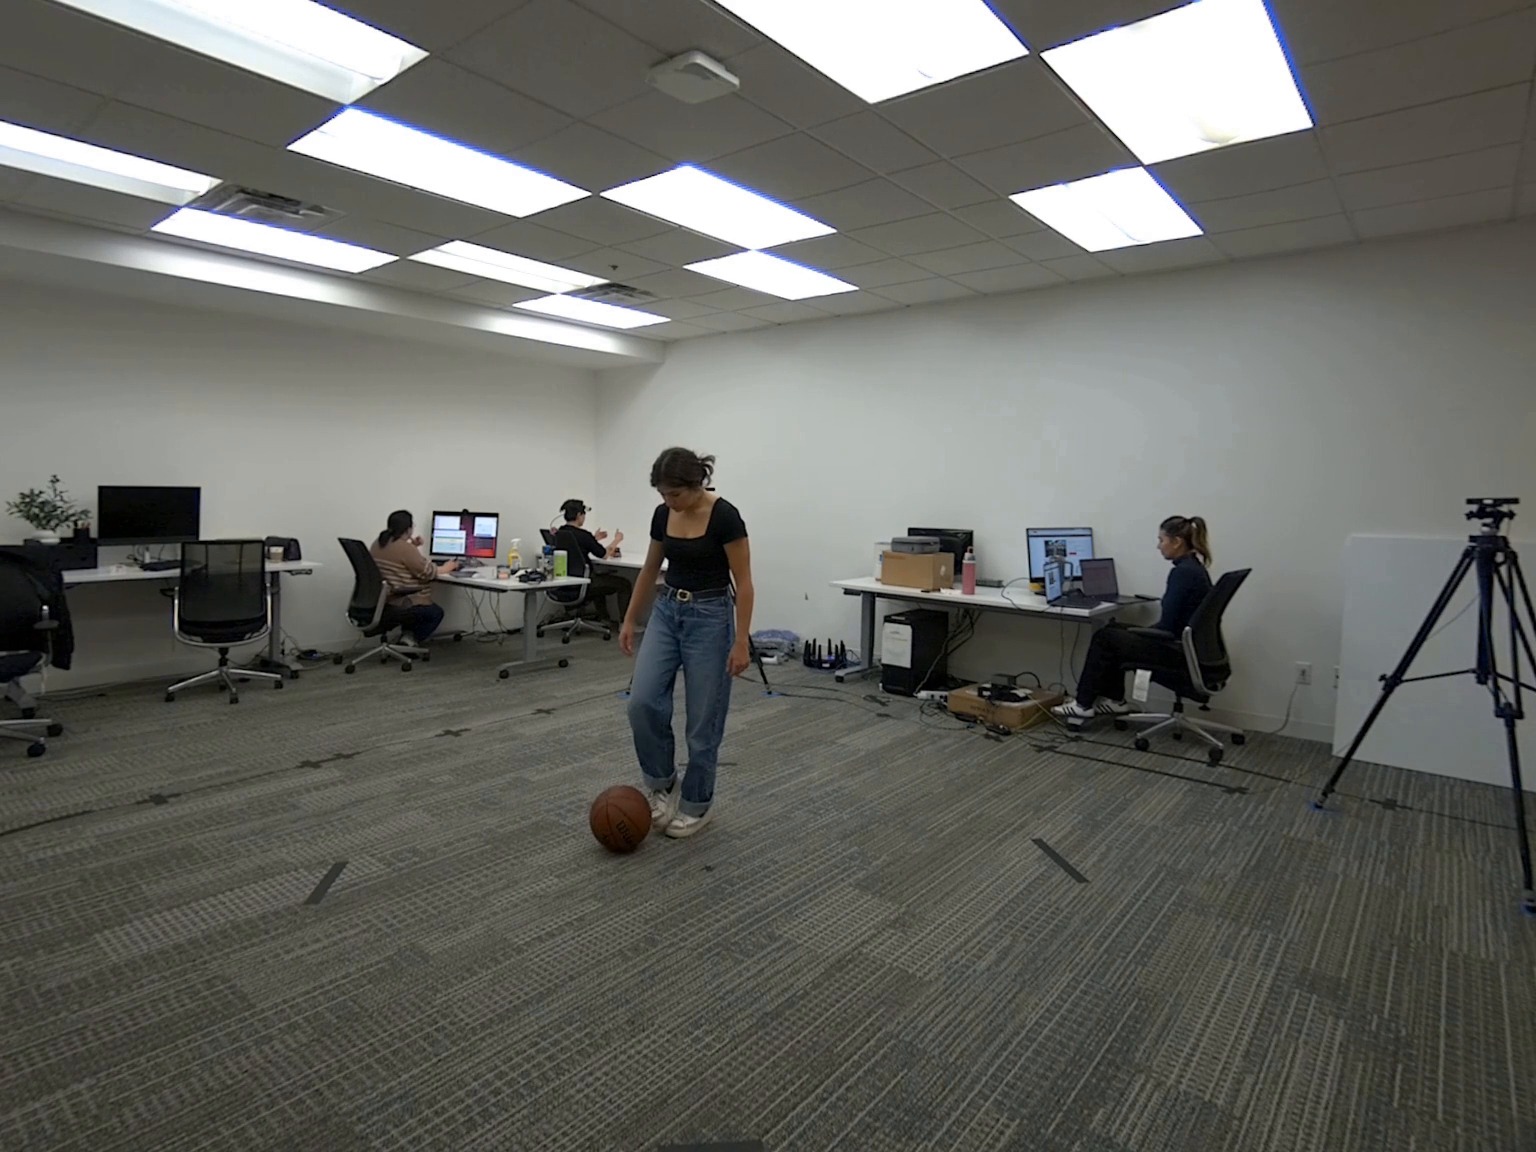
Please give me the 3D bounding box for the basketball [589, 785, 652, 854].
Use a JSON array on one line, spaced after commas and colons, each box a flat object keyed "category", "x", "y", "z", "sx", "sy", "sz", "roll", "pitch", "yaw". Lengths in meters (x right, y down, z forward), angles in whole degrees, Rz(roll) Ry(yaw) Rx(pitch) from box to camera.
[{"category": "basketball", "x": -0.577, "y": 0.922, "z": 3.264, "sx": 0.235, "sy": 0.235, "sz": 0.237, "roll": 1, "pitch": 4, "yaw": -2}]
